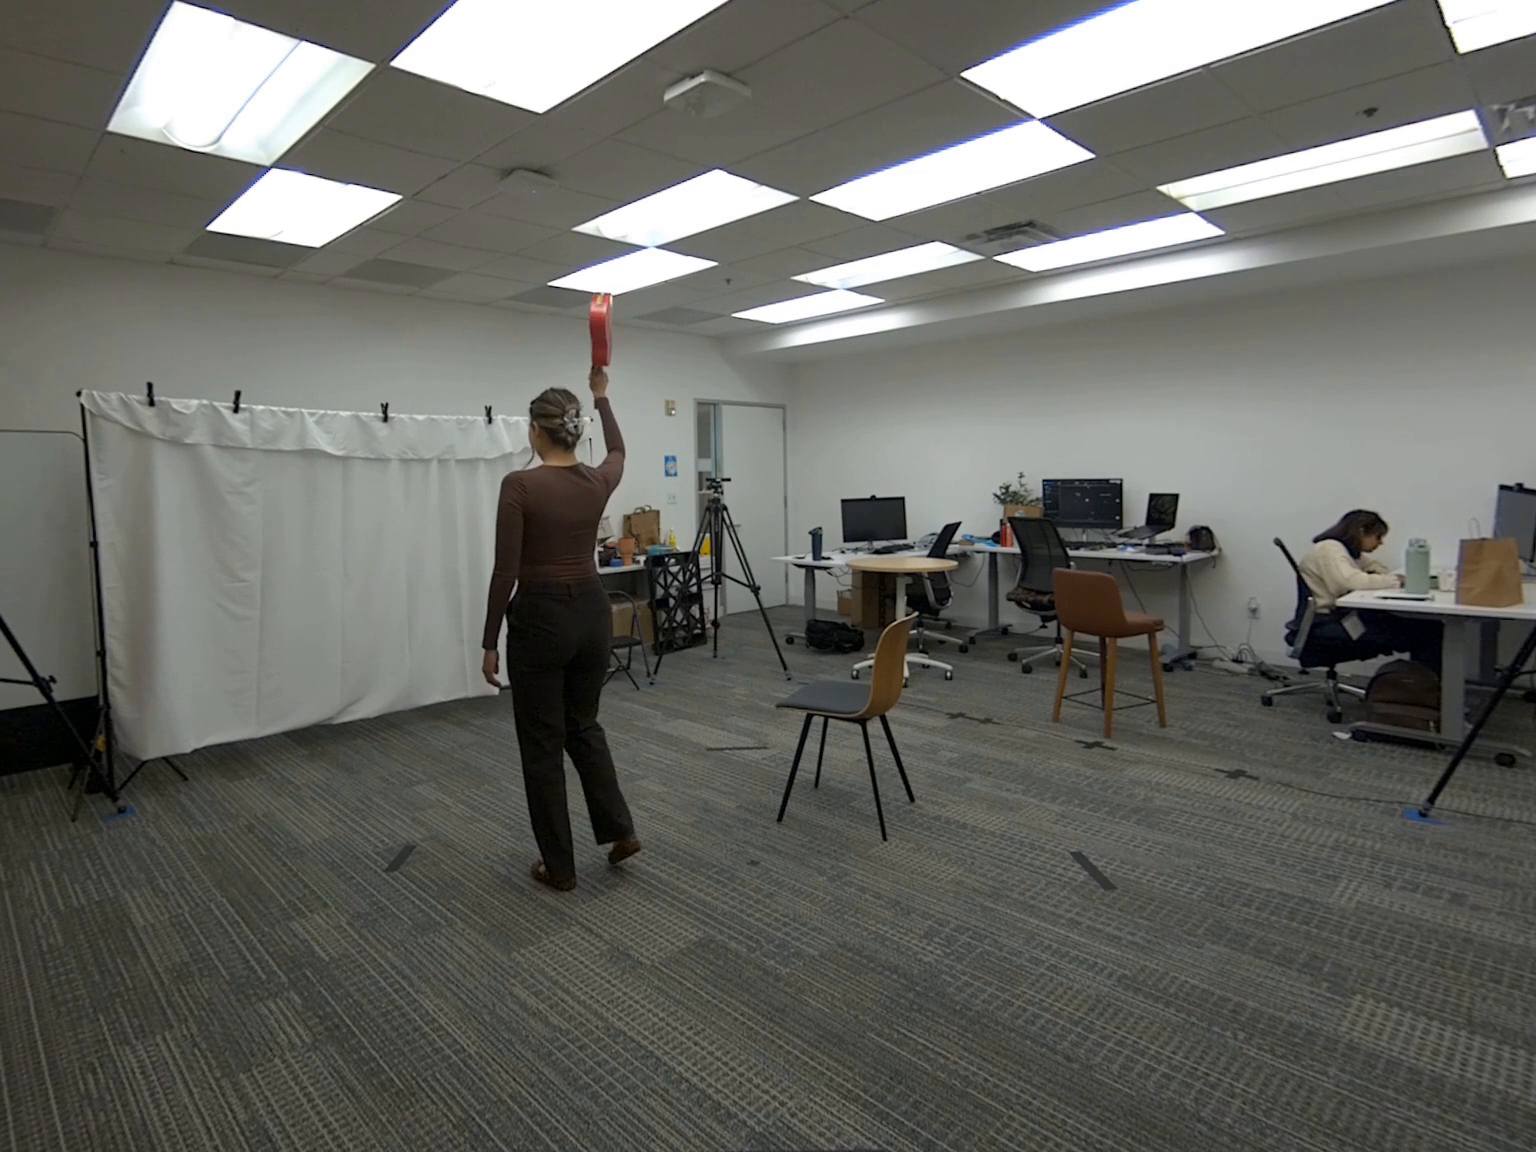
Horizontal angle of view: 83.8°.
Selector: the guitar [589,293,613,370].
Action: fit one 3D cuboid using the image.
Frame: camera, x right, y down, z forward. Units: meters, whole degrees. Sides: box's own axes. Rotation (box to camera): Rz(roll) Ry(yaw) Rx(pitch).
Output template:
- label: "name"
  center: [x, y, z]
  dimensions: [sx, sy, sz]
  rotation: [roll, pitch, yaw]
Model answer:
- label: "guitar"
  center: [-0.628, -0.857, 3.264]
  dimensions: [0.070, 0.197, 0.488]
  rotation: [6, -33, -4]
